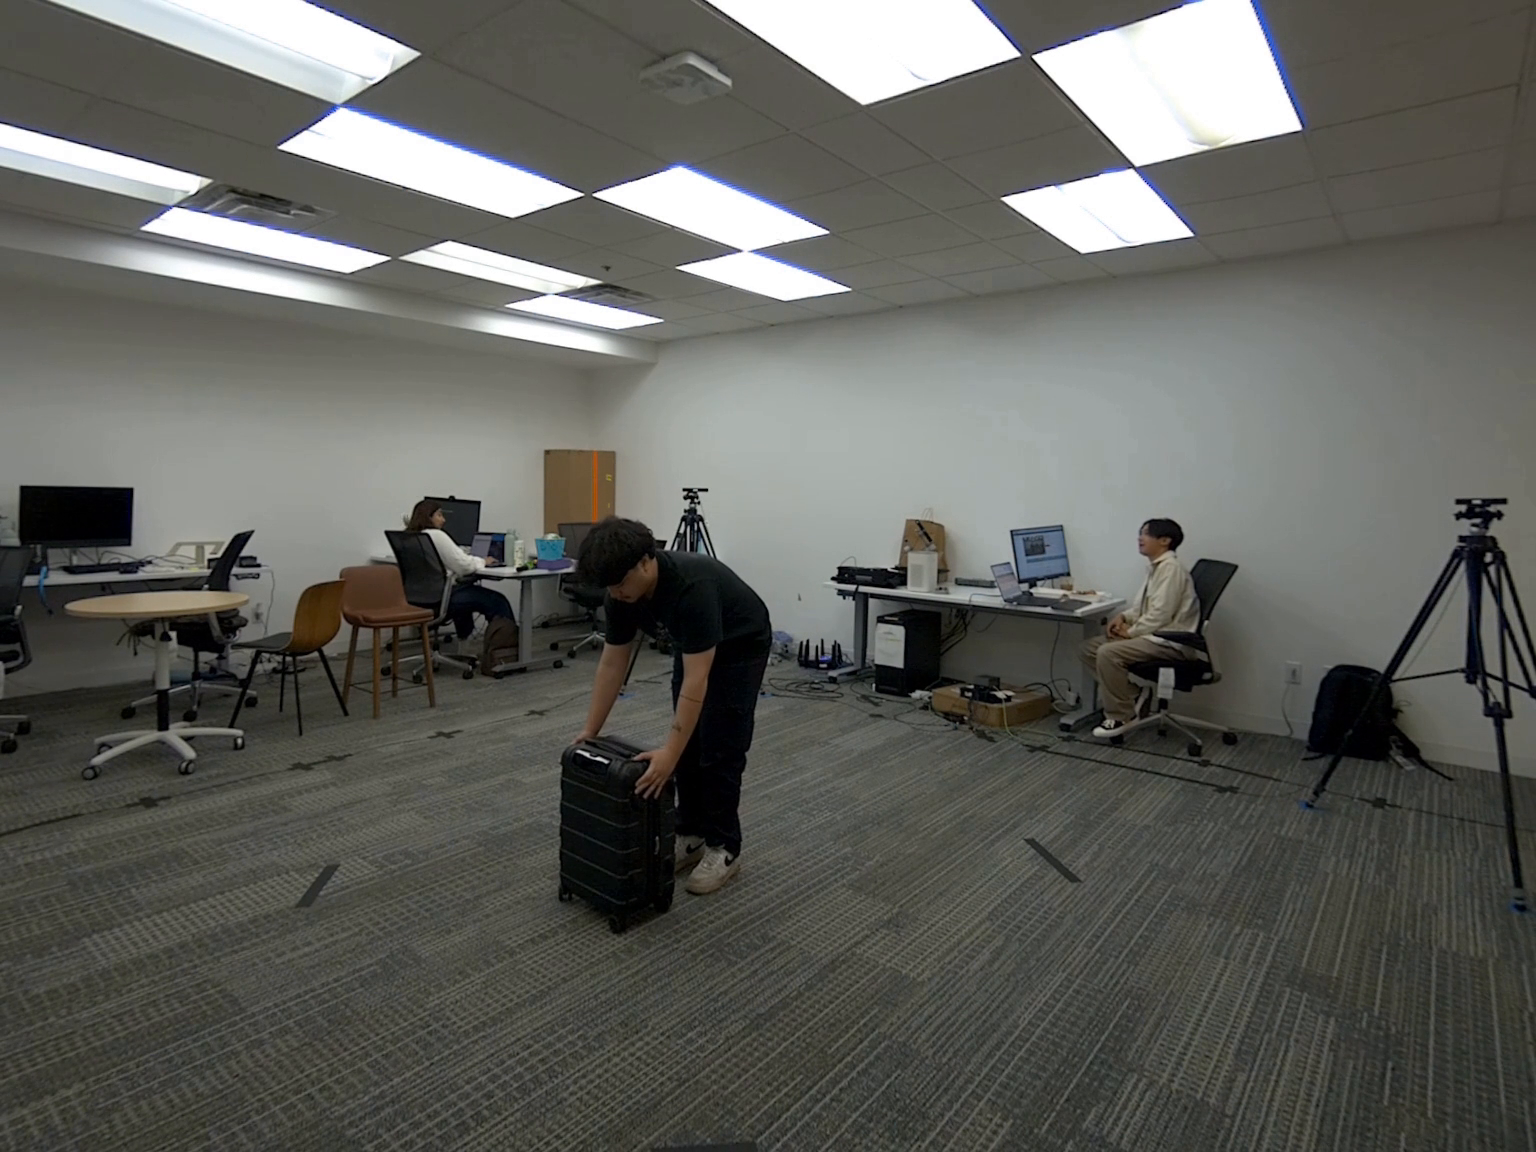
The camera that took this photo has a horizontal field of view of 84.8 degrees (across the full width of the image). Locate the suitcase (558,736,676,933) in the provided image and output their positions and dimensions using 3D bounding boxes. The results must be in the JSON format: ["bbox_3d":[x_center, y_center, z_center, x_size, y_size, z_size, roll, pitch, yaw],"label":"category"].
[{"bbox_3d":[-0.513,0.818,2.805,0.388,0.547,0.241,5,5,42],"label":"suitcase"}]
